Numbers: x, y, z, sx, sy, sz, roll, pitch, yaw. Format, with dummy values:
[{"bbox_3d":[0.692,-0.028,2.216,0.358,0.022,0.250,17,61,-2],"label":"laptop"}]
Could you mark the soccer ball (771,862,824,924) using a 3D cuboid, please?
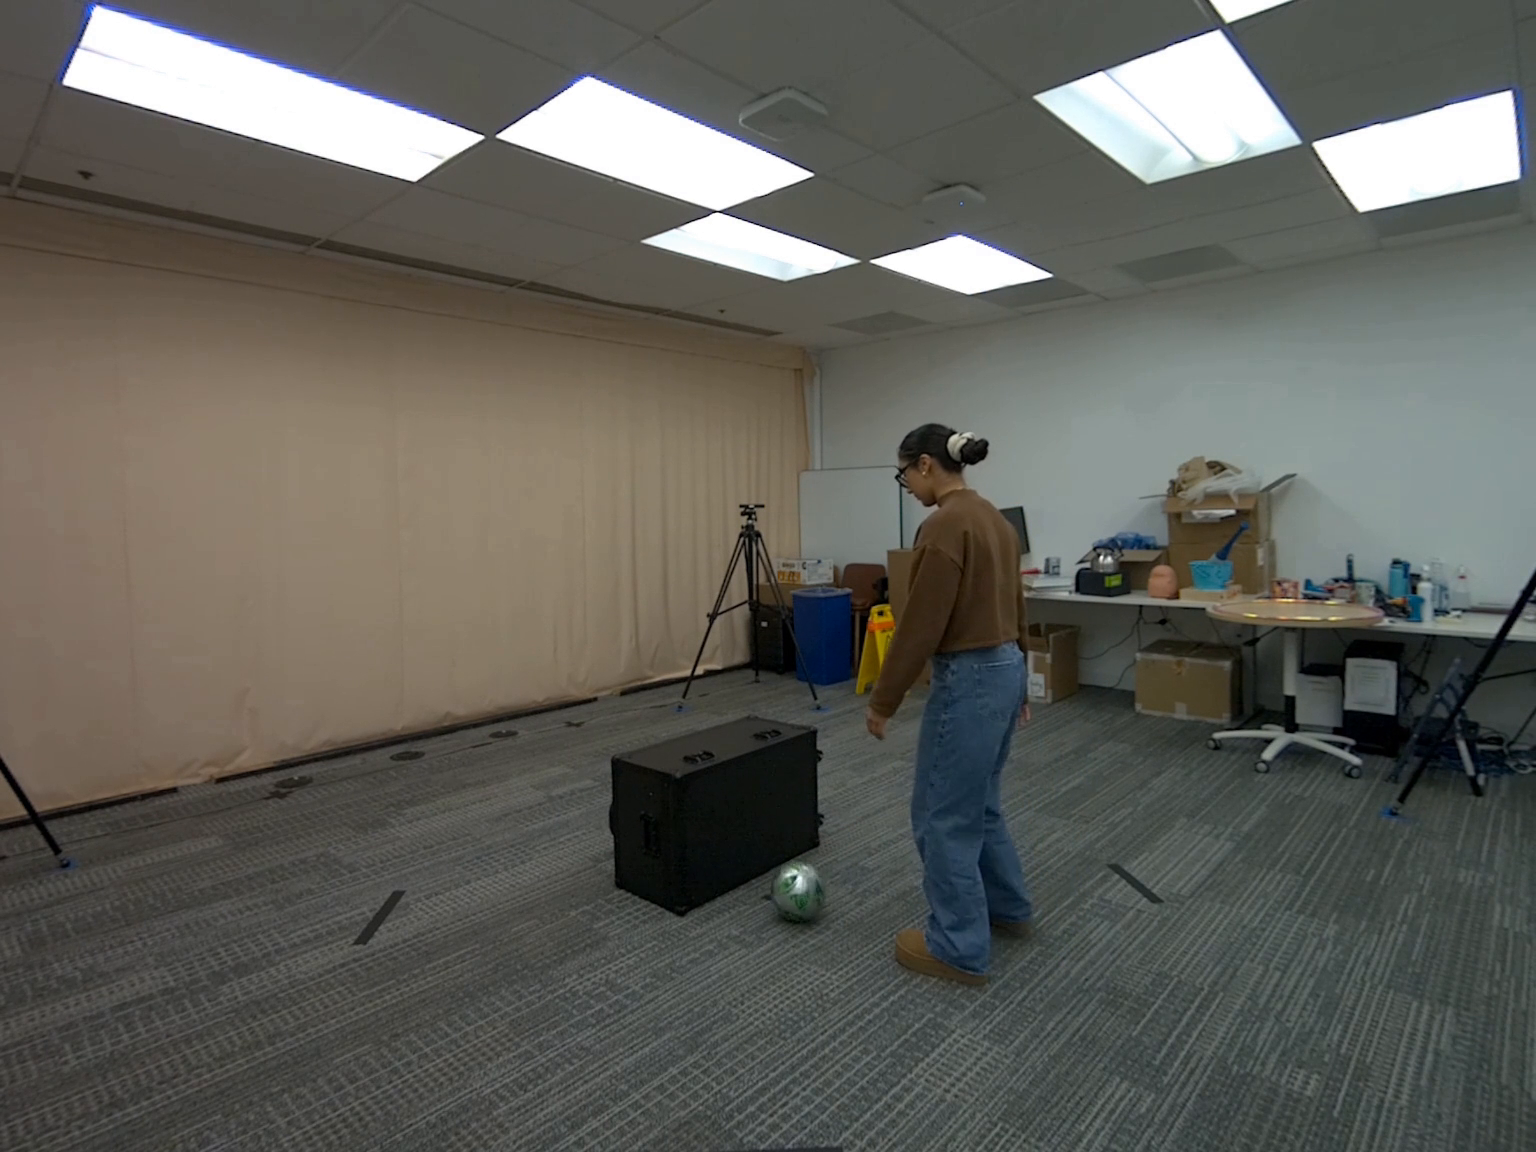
[{"bbox_3d":[0.102,1.050,2.828,0.187,0.187,0.188,-1,4,-2],"label":"soccer ball"}]
